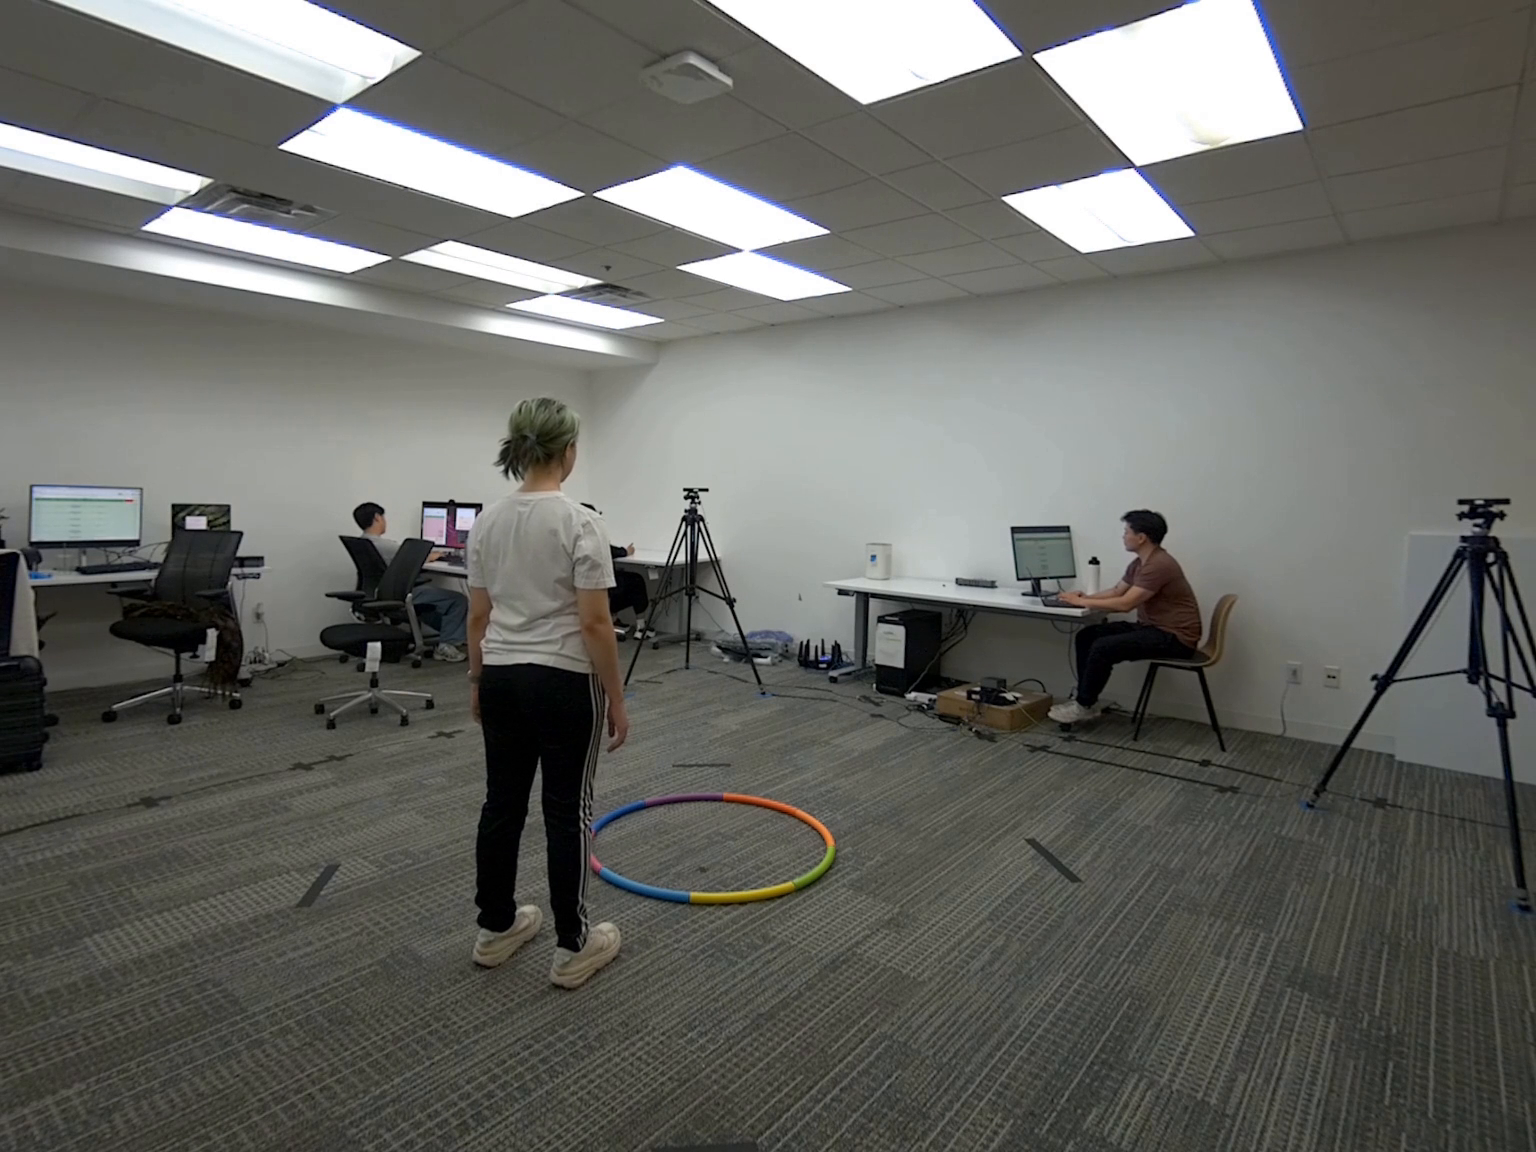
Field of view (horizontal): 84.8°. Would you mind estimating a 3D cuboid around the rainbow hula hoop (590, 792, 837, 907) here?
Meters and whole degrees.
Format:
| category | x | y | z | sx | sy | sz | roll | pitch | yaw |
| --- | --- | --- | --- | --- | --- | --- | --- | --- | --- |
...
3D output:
| category | x | y | z | sx | sy | sz | roll | pitch | yaw |
| --- | --- | --- | --- | --- | --- | --- | --- | --- | --- |
| rainbow hula hoop | -0.235 | 1.019 | 3.321 | 0.978 | 0.035 | 0.984 | 1 | 6 | -2 |
